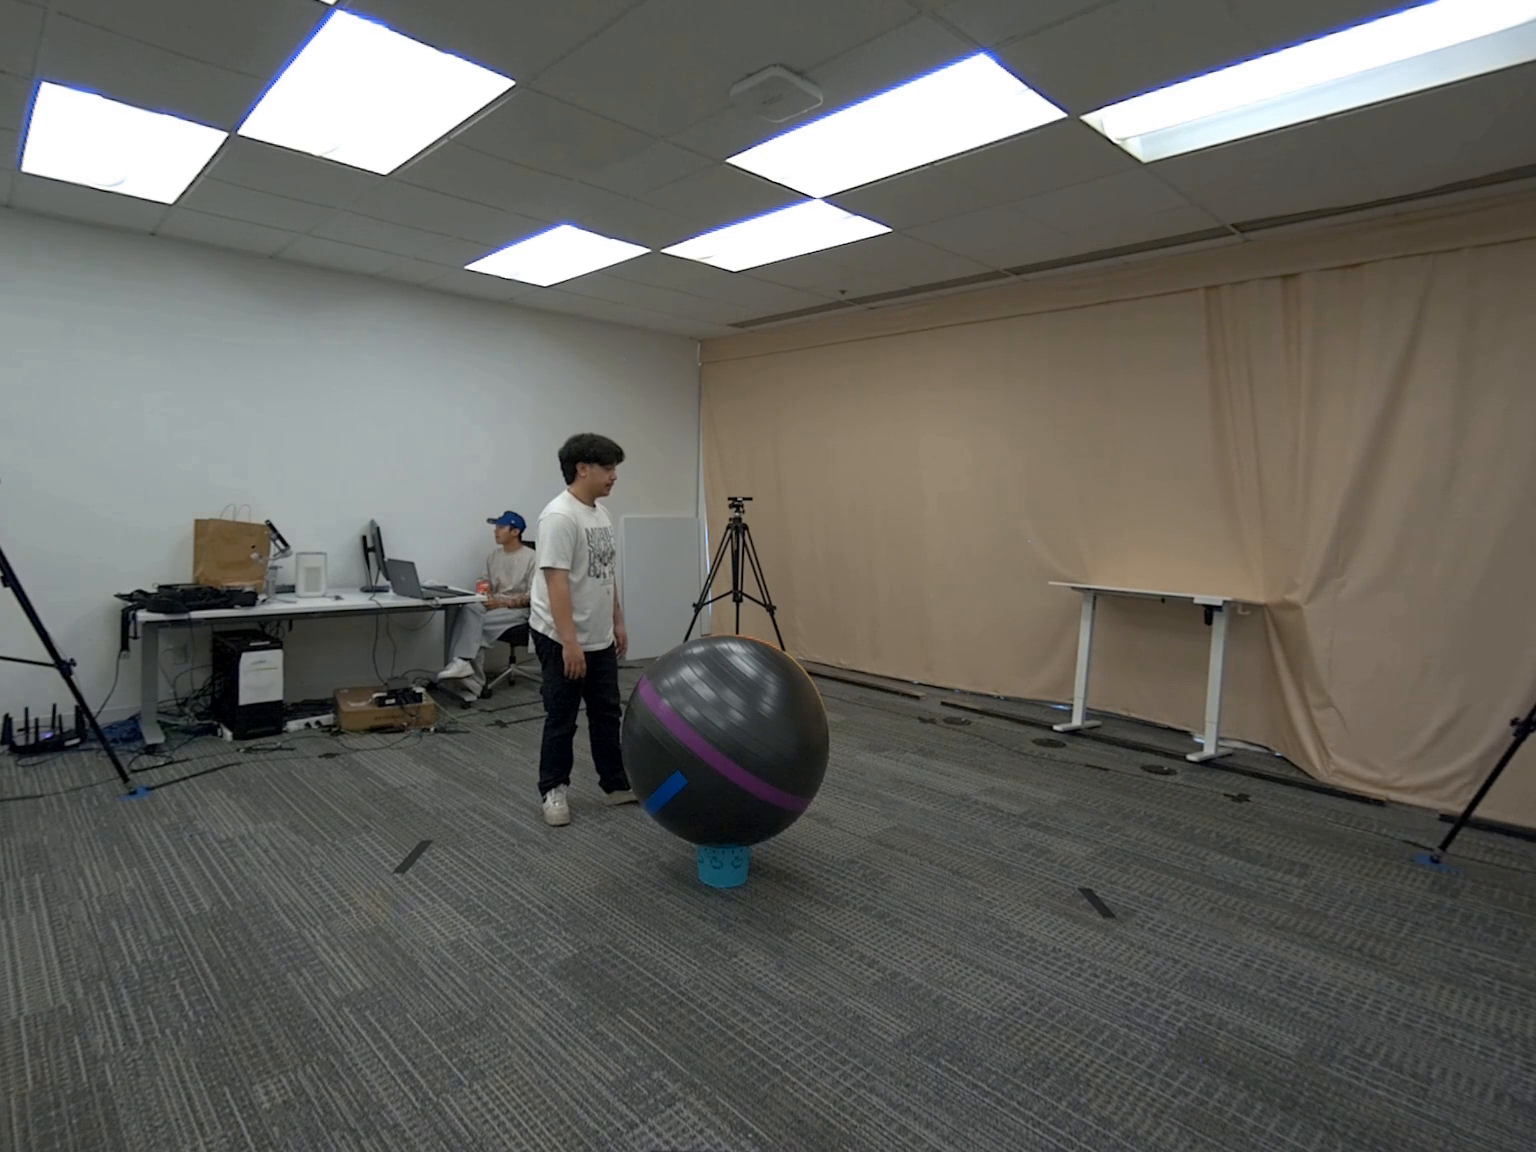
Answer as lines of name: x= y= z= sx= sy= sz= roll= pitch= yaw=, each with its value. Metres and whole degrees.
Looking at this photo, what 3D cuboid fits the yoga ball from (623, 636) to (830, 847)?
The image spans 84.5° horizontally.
yoga ball: x=-0.152 y=0.602 z=3.083 sx=0.757 sy=0.756 sz=0.761 roll=1 pitch=4 yaw=-1
